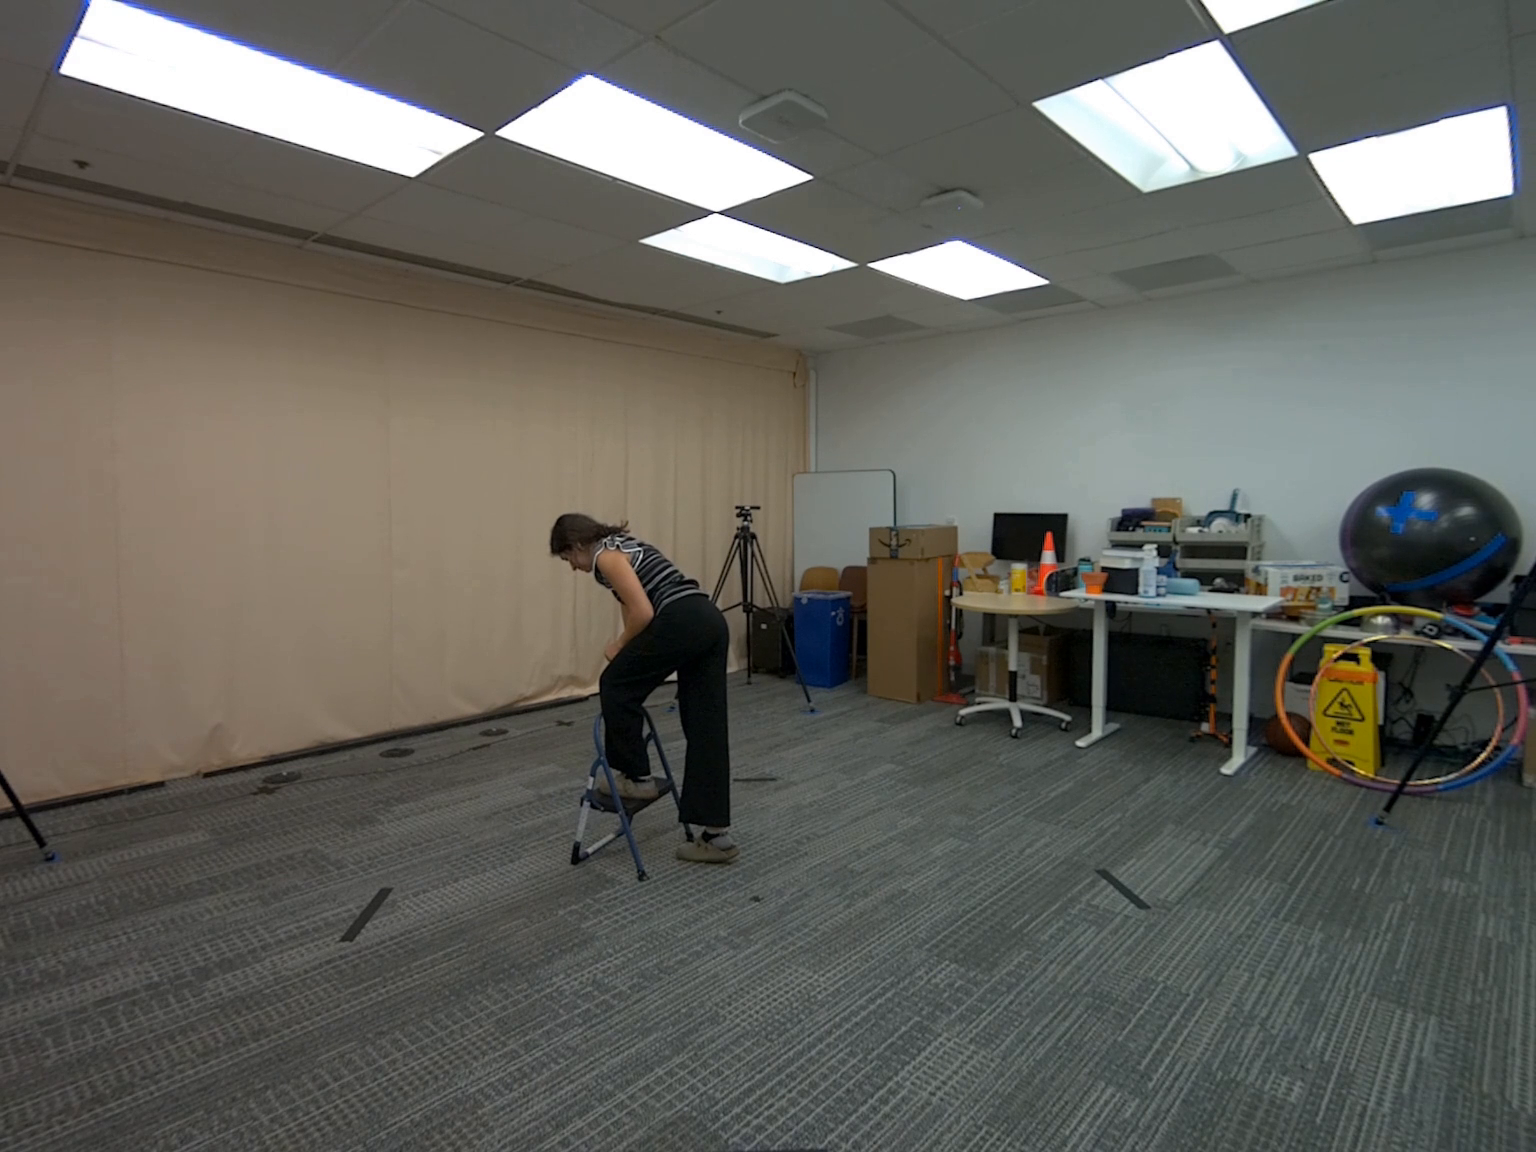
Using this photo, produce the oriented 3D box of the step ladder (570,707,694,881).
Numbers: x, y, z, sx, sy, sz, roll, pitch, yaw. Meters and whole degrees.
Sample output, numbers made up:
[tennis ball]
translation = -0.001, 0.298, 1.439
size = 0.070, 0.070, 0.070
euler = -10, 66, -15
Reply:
[step ladder]
translation = -0.539, 0.814, 3.384
size = 0.358, 0.605, 0.421
euler = 0, 3, 23
